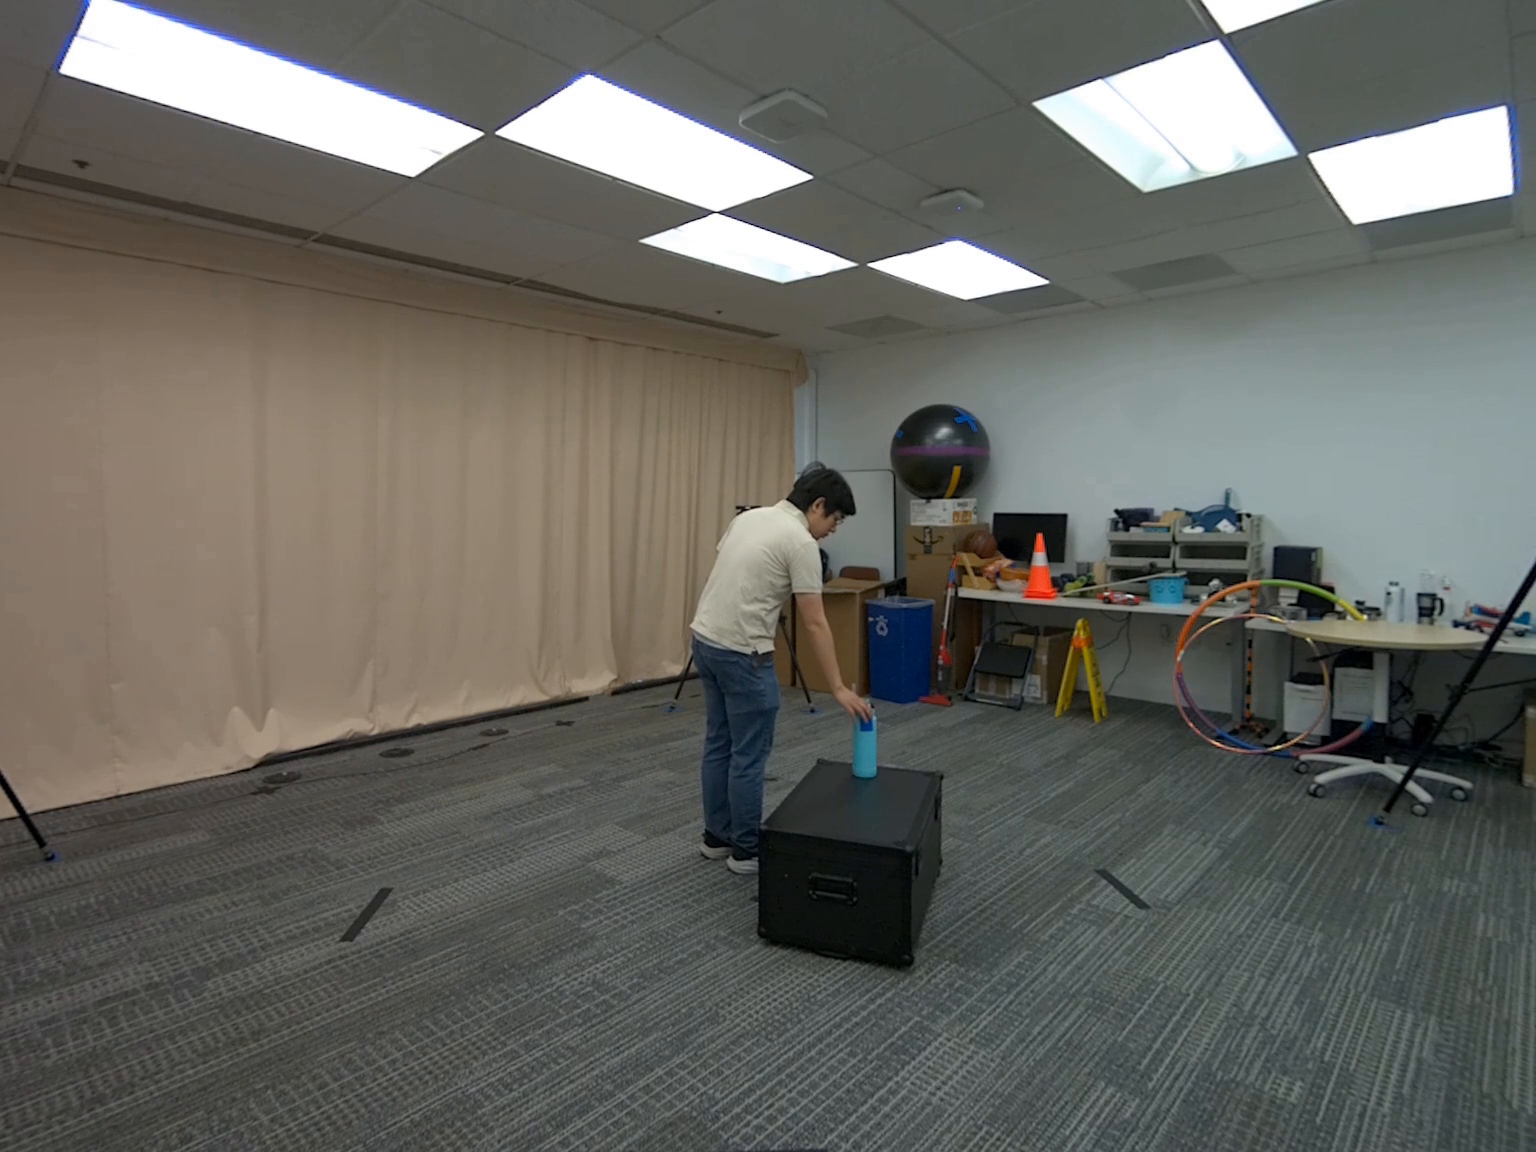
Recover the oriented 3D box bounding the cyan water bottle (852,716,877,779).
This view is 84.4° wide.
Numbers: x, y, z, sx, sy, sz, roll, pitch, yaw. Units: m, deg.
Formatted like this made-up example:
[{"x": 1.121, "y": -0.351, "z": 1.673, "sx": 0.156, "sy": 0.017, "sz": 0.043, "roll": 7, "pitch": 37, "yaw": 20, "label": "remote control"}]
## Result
[{"x": 0.373, "y": 0.612, "z": 3.180, "sx": 0.092, "sy": 0.282, "sz": 0.093, "roll": 0, "pitch": 4, "yaw": -2, "label": "cyan water bottle"}]
